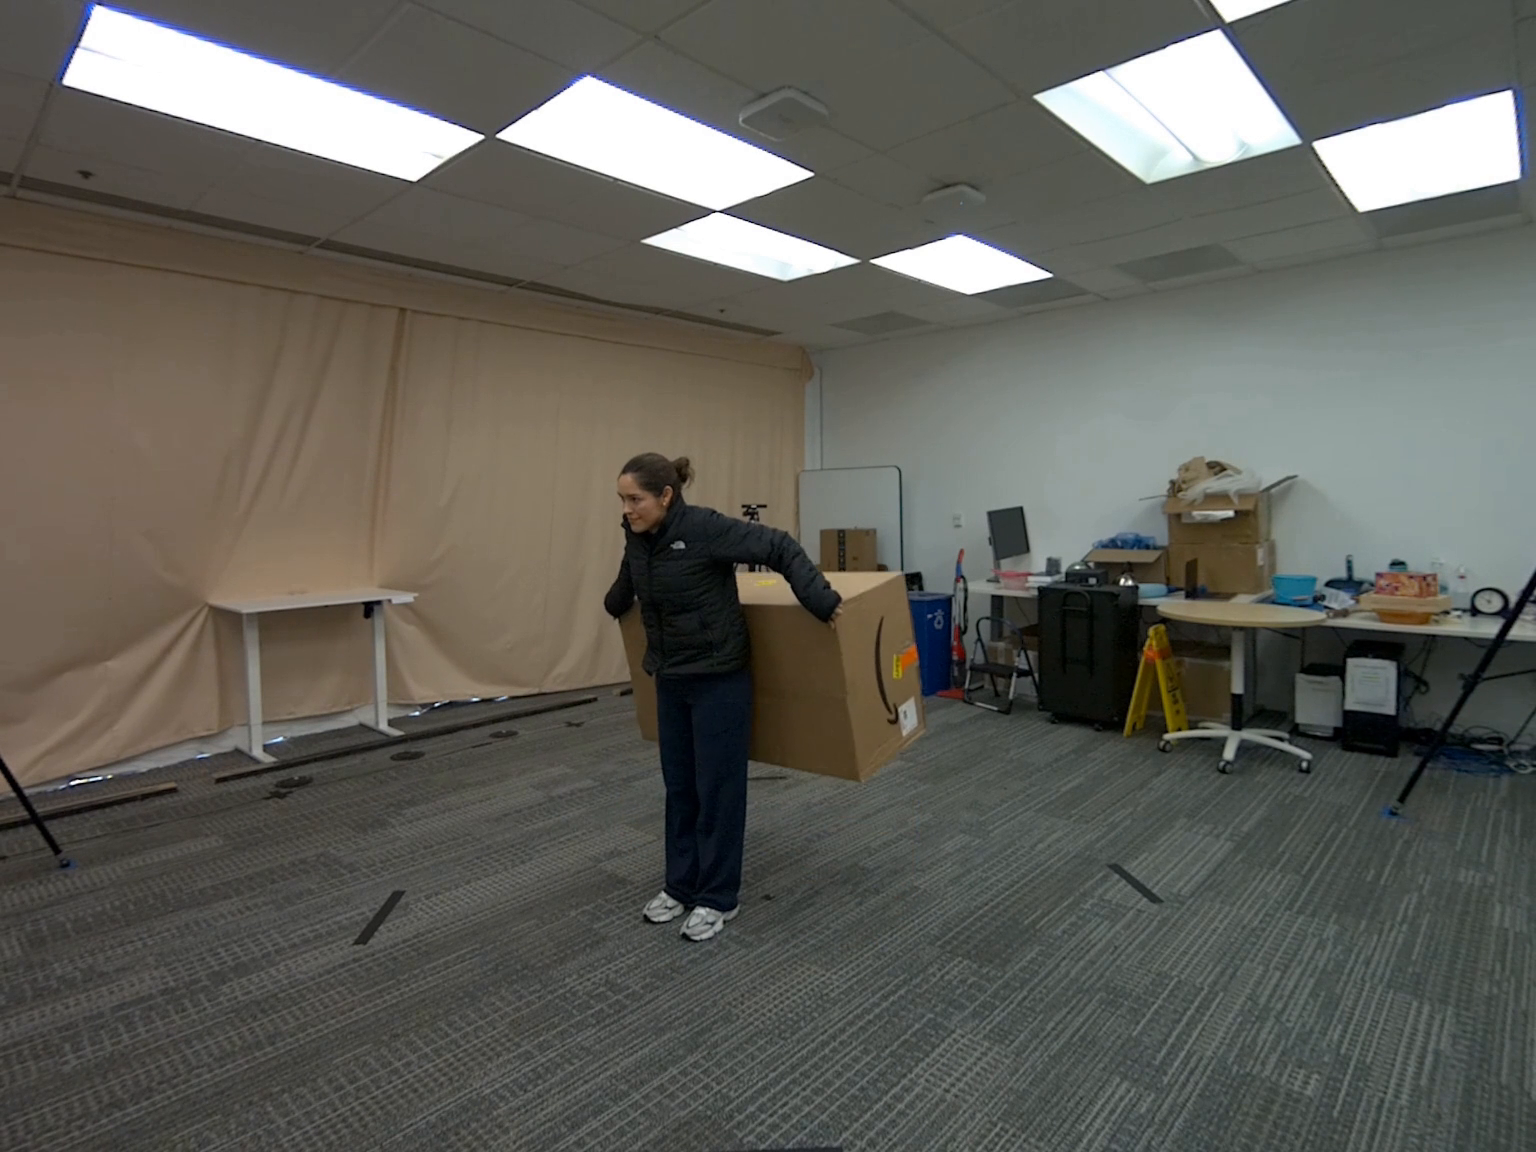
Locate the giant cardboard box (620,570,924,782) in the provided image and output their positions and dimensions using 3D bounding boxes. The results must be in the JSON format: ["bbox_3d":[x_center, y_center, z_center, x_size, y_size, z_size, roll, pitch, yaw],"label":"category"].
[{"bbox_3d":[-0.002,0.320,3.074,1.059,0.573,0.416,0,14,41],"label":"giant cardboard box"}]
